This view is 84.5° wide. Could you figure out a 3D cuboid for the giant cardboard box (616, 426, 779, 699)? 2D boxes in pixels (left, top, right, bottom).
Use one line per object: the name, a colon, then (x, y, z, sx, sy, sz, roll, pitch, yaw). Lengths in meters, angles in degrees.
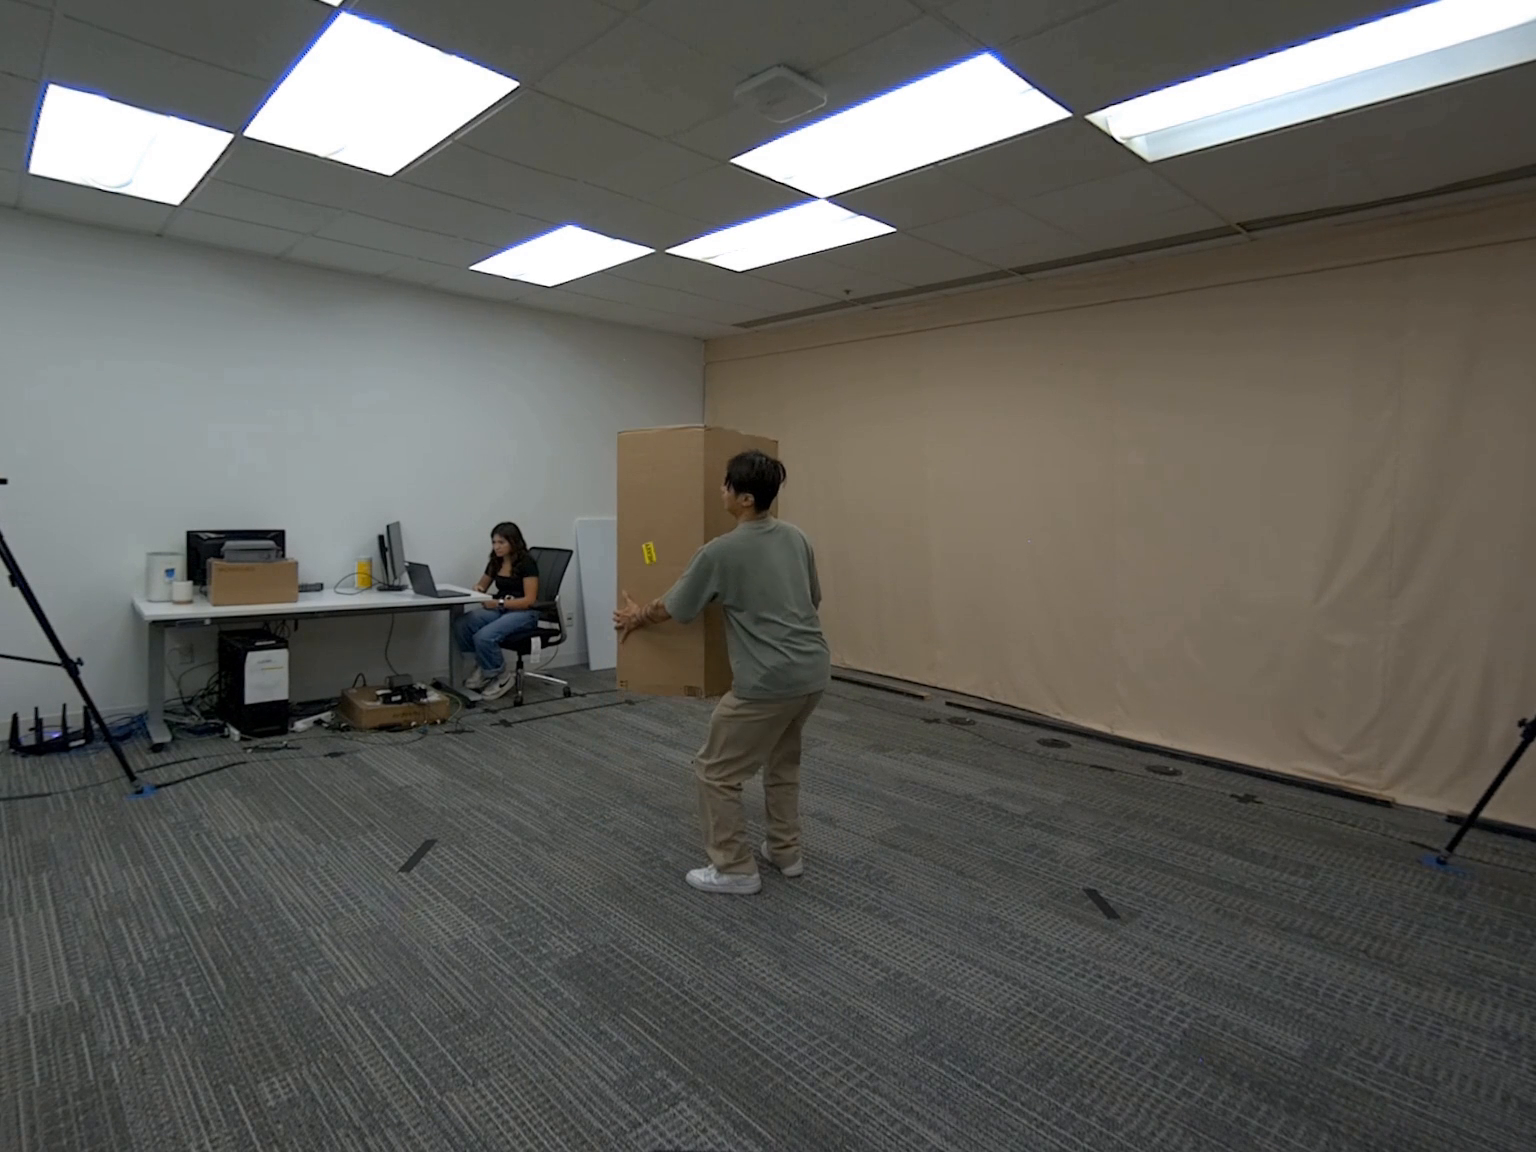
giant cardboard box: (-0.282, -0.060, 3.454, 0.435, 1.025, 0.565, 1, 1, 31)
